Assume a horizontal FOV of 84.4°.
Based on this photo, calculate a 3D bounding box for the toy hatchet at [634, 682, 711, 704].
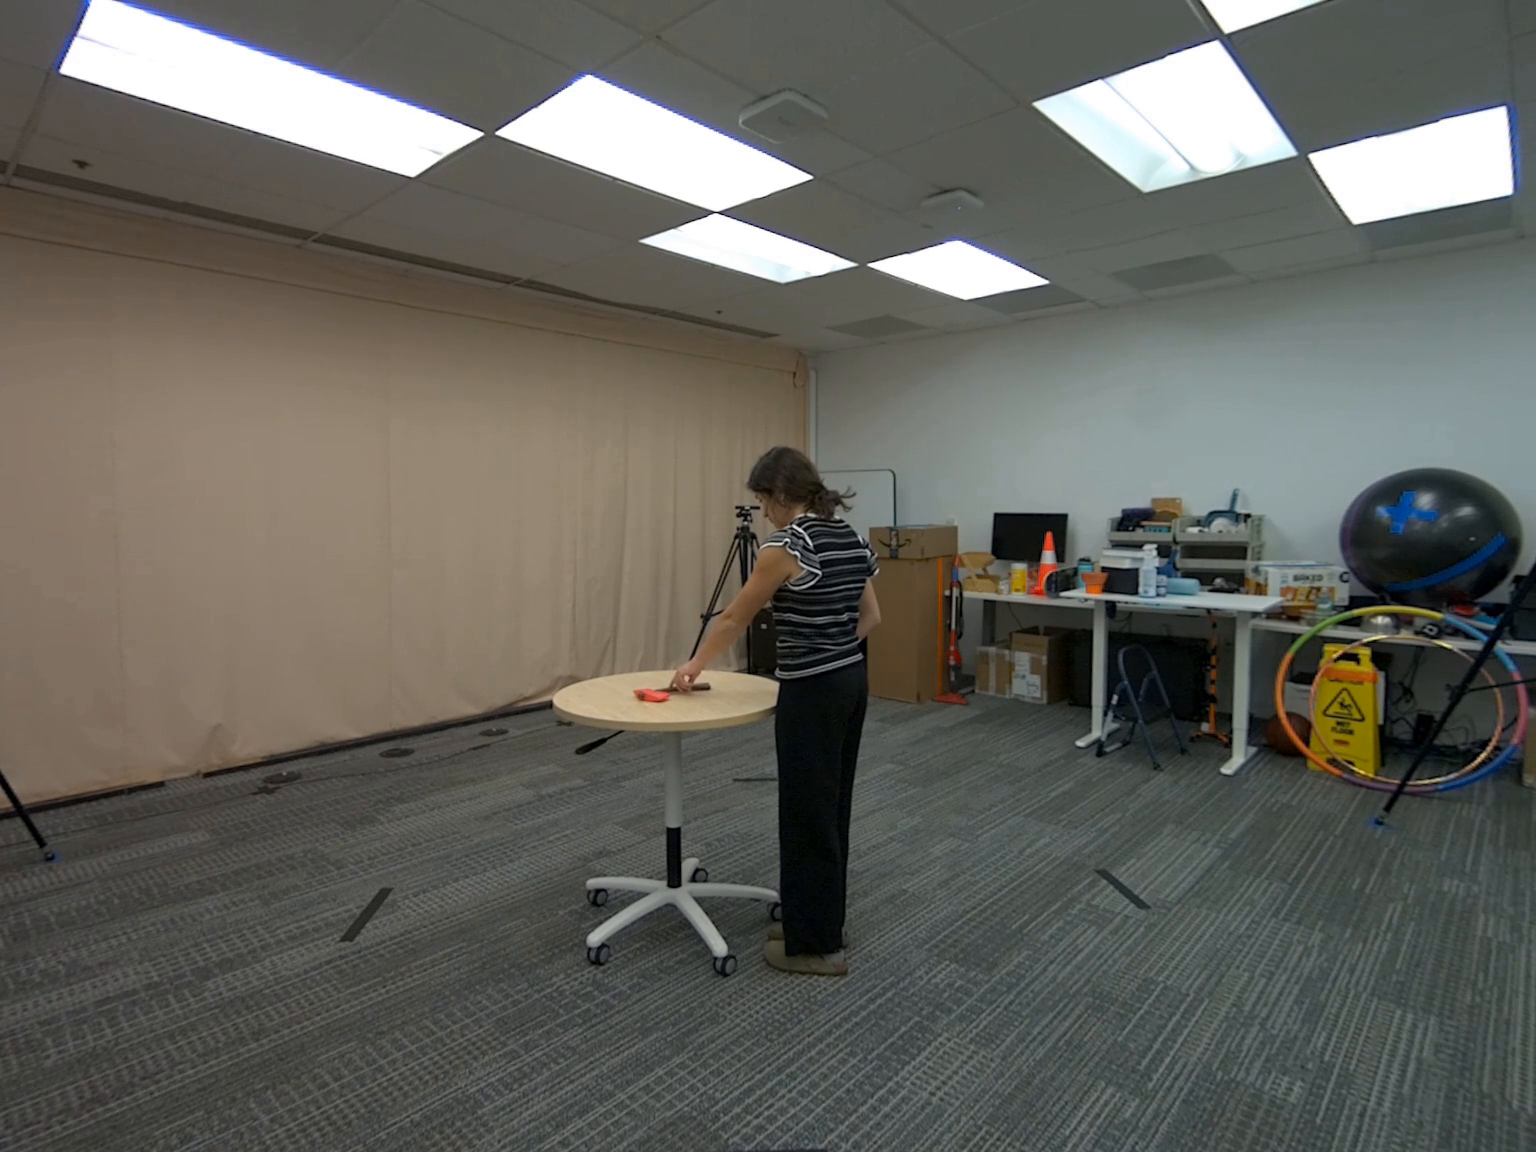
[{"bbox_3d":[-0.289,0.373,2.699,0.264,0.029,0.134,-2,3,-24],"label":"toy hatchet"}]
